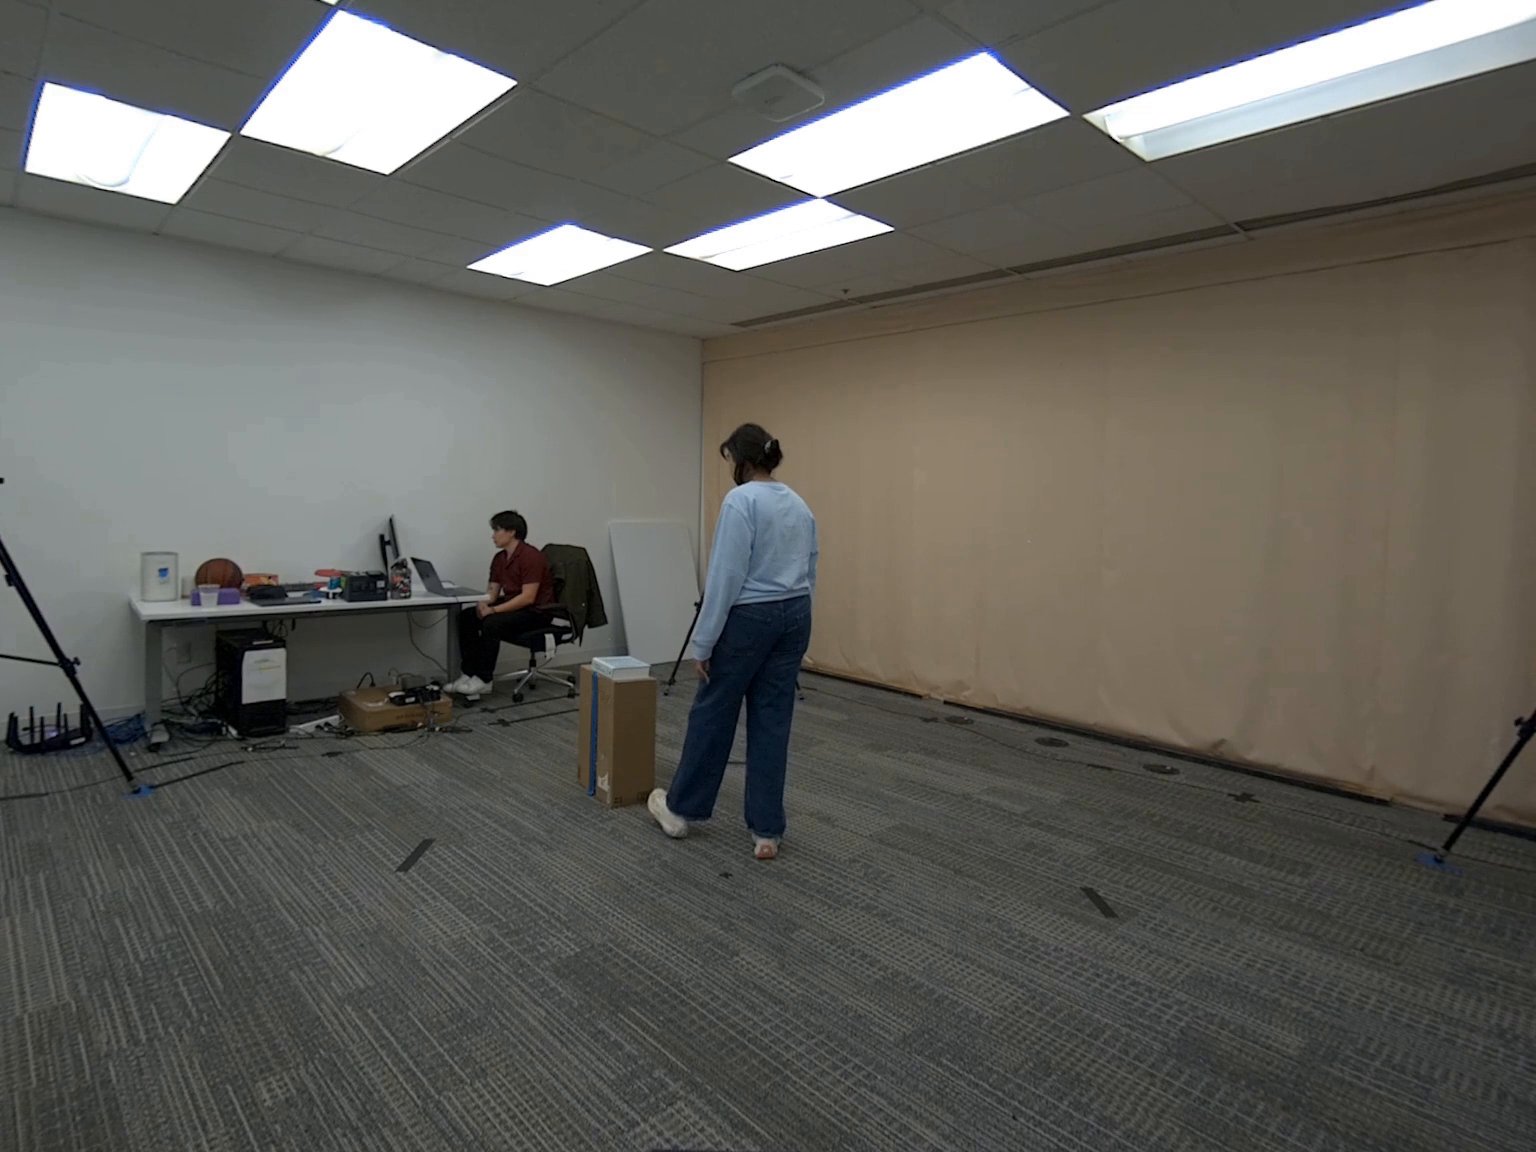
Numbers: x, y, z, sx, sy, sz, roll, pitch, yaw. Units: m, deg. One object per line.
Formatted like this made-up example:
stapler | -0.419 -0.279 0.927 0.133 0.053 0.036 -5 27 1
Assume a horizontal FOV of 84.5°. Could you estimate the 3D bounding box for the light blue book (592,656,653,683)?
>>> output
light blue book | -0.679 0.427 3.912 0.187 0.059 0.267 0 5 -31
